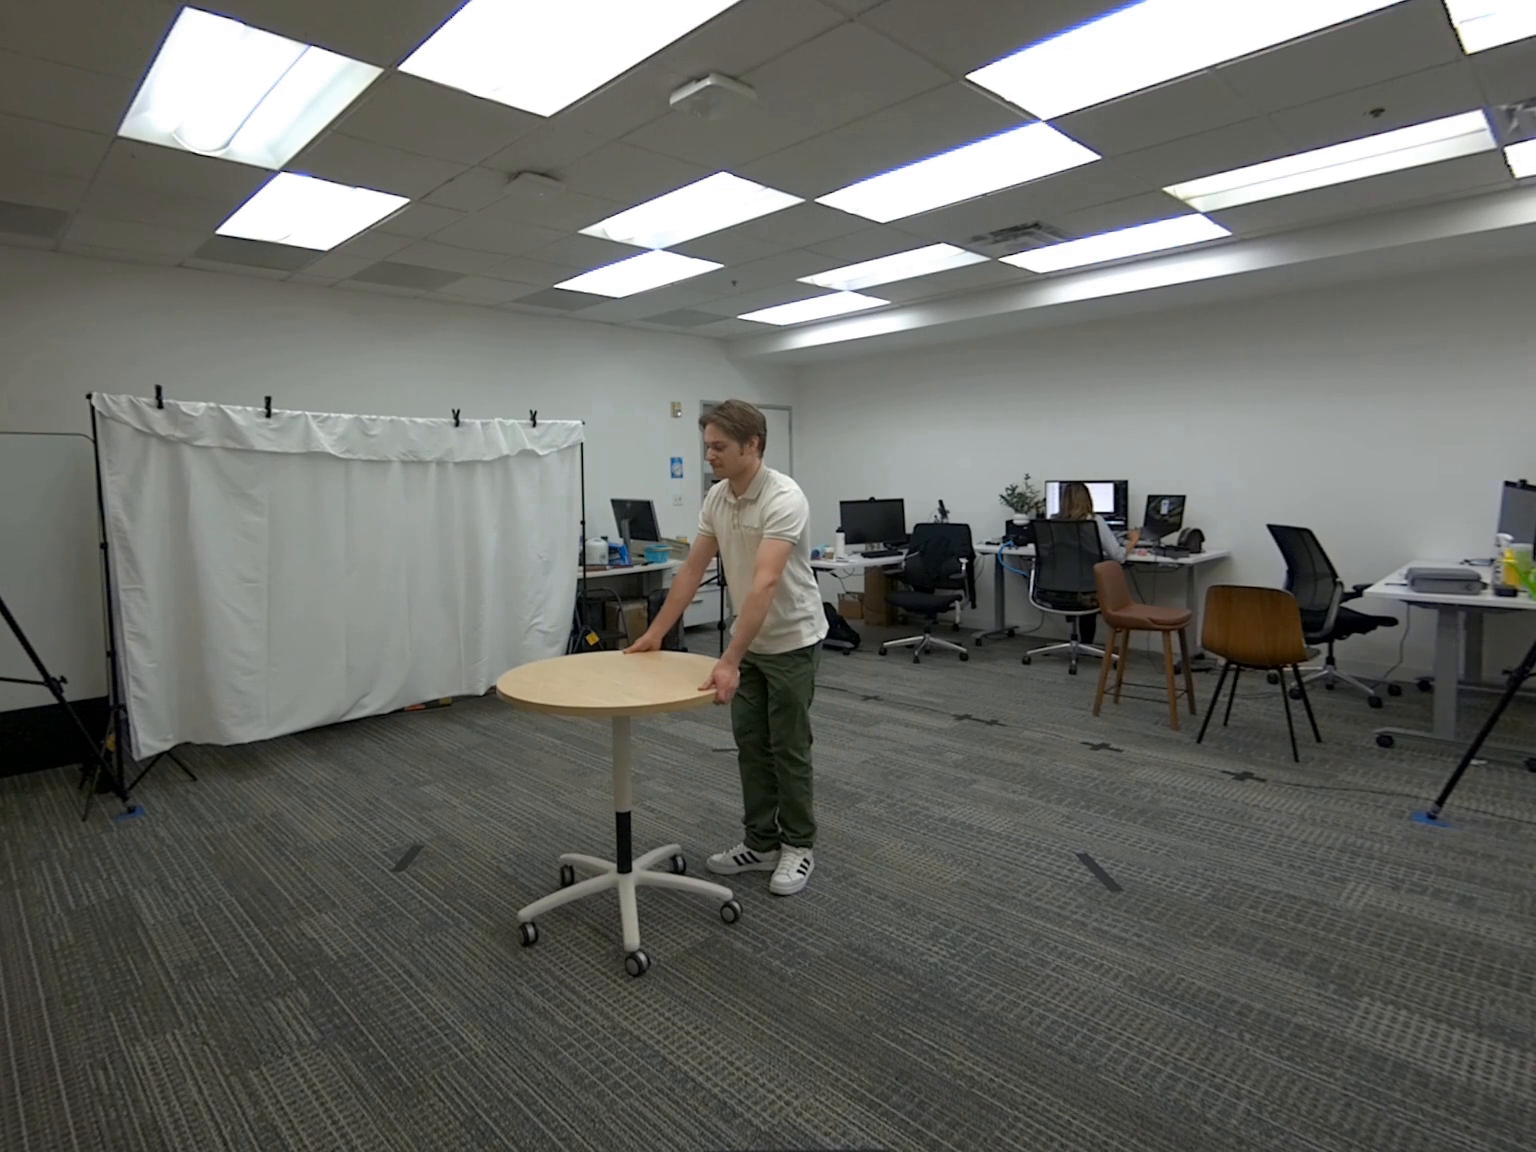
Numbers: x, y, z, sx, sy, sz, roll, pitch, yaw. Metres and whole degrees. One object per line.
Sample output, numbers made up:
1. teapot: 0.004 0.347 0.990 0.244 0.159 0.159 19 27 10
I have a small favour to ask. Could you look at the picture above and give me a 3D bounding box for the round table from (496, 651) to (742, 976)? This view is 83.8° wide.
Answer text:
1. round table: -0.462 0.708 2.751 0.763 0.791 0.768 -1 5 -2
